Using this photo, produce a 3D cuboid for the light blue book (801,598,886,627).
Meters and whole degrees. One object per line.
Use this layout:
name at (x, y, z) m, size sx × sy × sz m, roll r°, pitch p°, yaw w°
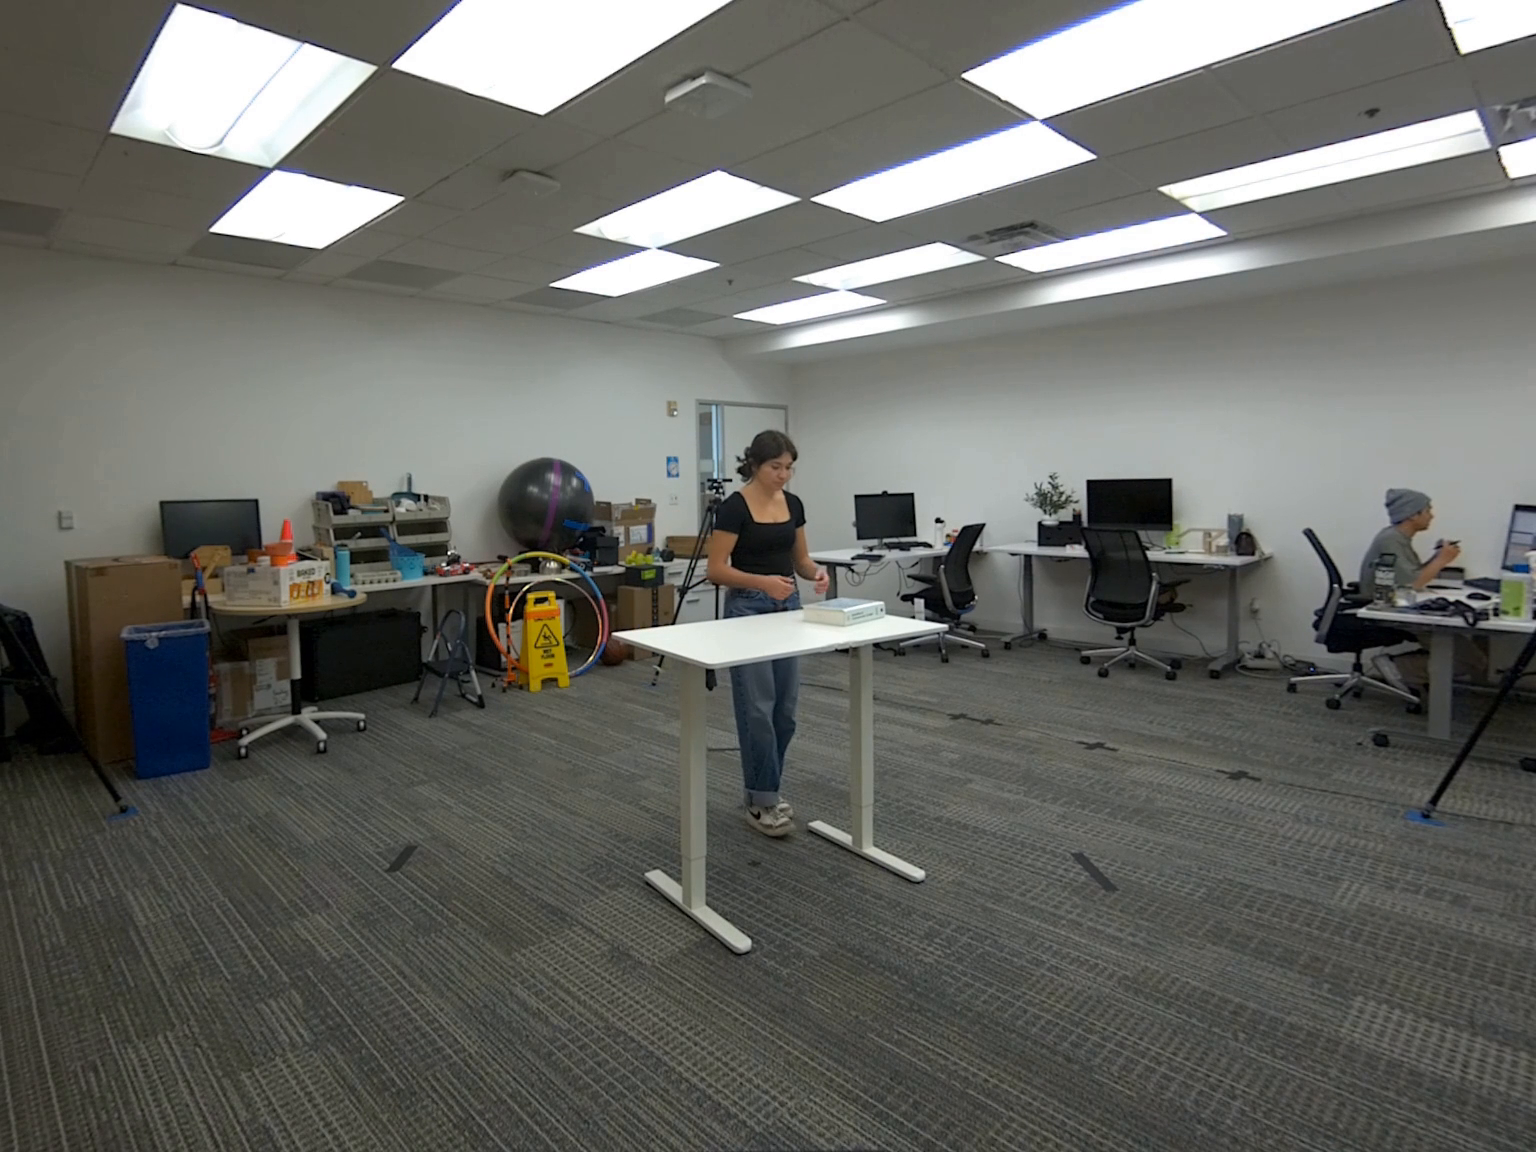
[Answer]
light blue book at (0.279, 0.132, 3.106) m, size 0.197 × 0.059 × 0.254 m, roll 4°, pitch 8°, yaw 40°
